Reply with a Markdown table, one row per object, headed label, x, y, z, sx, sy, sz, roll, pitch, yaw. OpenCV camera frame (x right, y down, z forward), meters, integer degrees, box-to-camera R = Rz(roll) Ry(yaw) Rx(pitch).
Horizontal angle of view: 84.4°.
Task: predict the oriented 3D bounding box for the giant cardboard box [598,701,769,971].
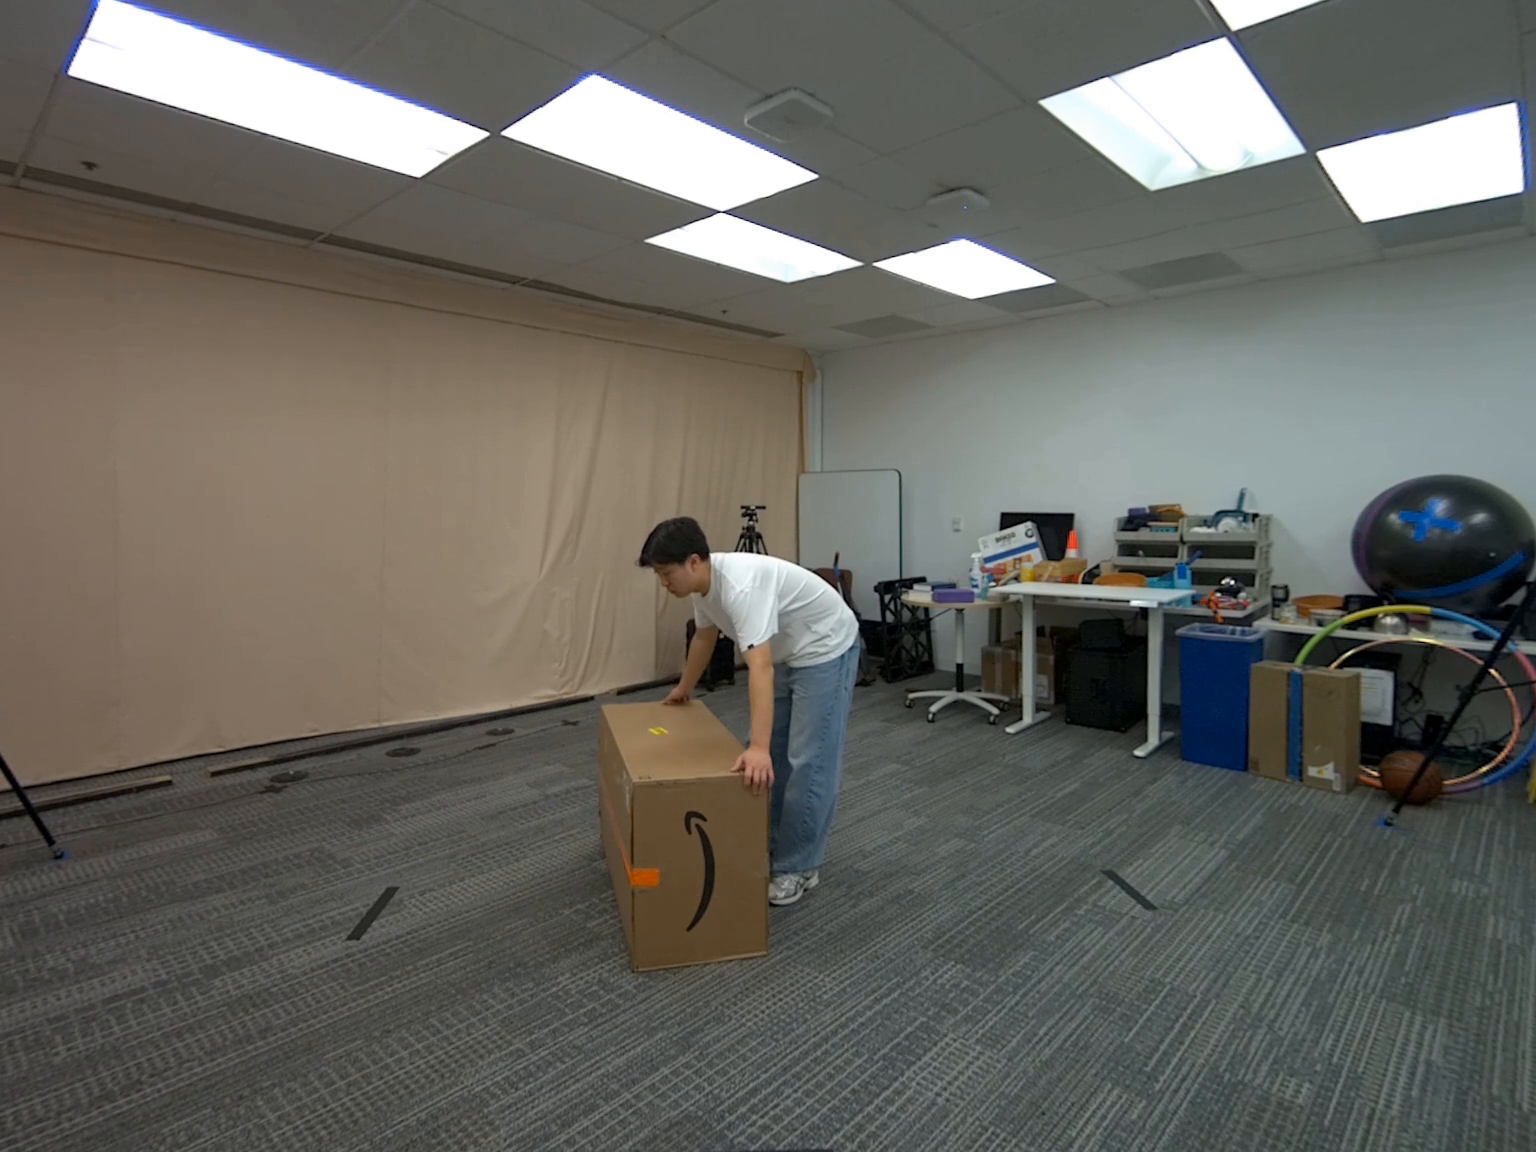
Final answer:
| label | x | y | z | sx | sy | sz | roll | pitch | yaw |
| --- | --- | --- | --- | --- | --- | --- | --- | --- | --- |
| giant cardboard box | -0.349 | 0.846 | 3.035 | 0.419 | 0.576 | 1.044 | 0 | 4 | -16 |
